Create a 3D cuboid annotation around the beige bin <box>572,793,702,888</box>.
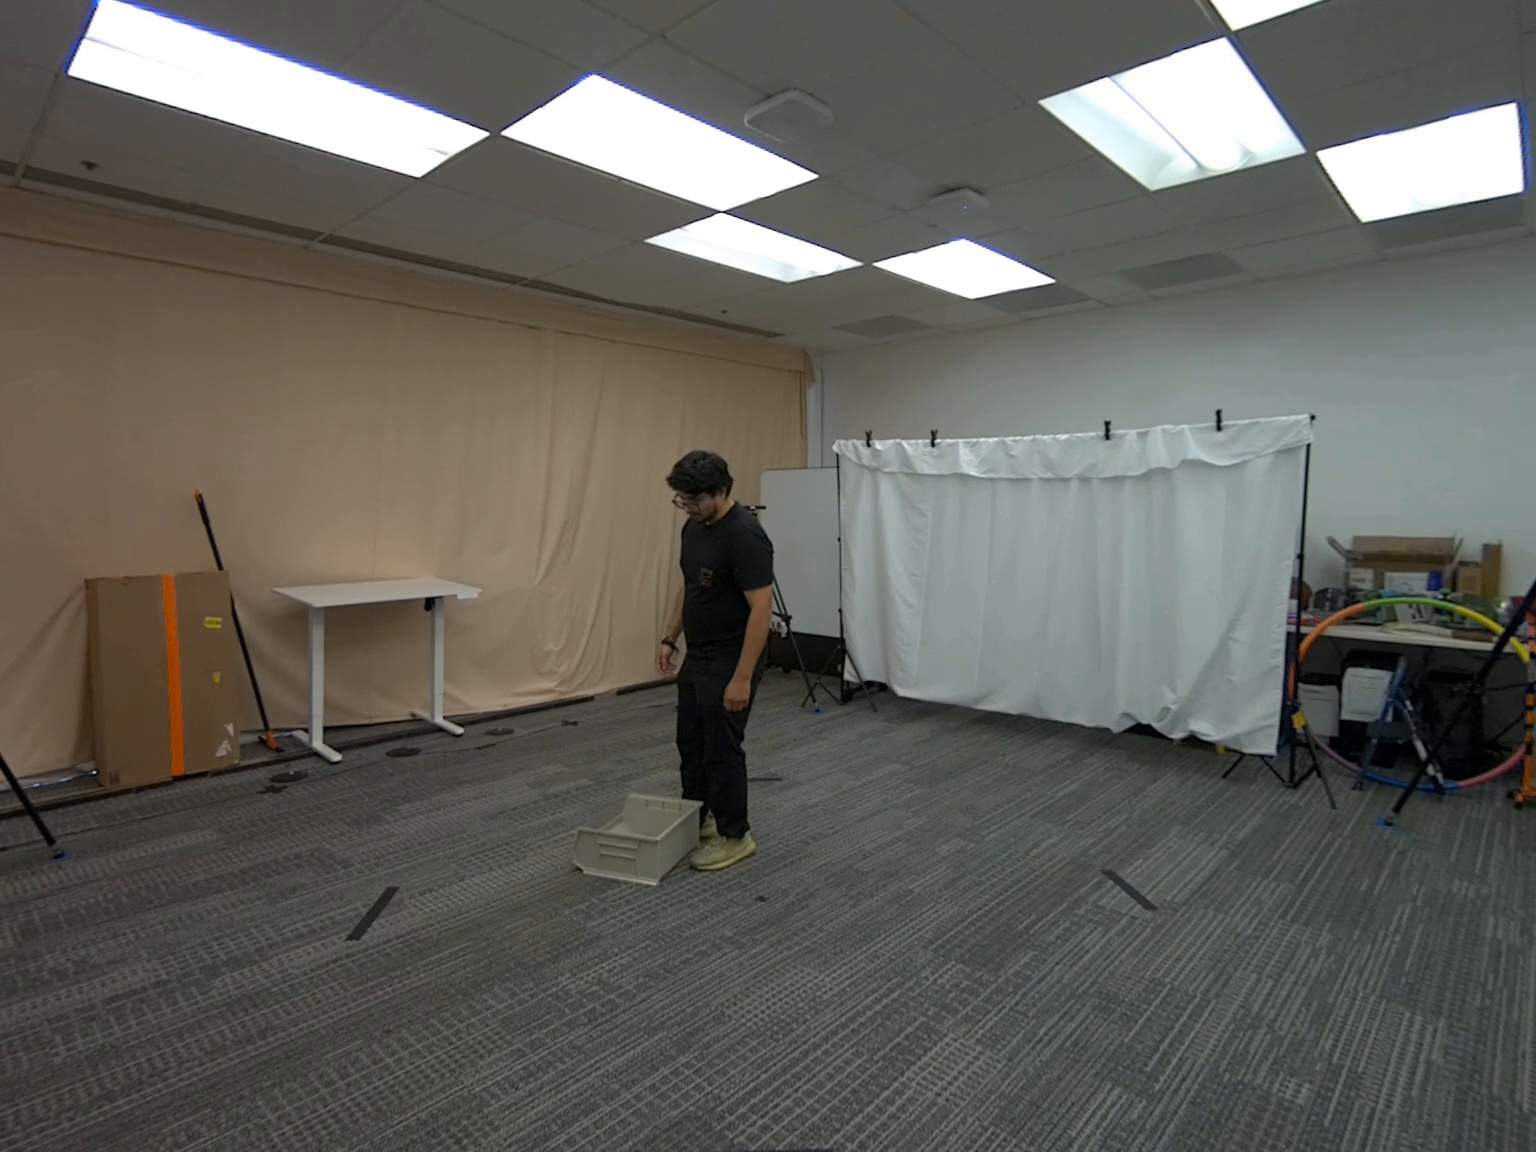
[{"bbox_3d":[-0.515,1.031,3.335,0.385,0.188,0.414,1,4,20],"label":"beige bin"}]
